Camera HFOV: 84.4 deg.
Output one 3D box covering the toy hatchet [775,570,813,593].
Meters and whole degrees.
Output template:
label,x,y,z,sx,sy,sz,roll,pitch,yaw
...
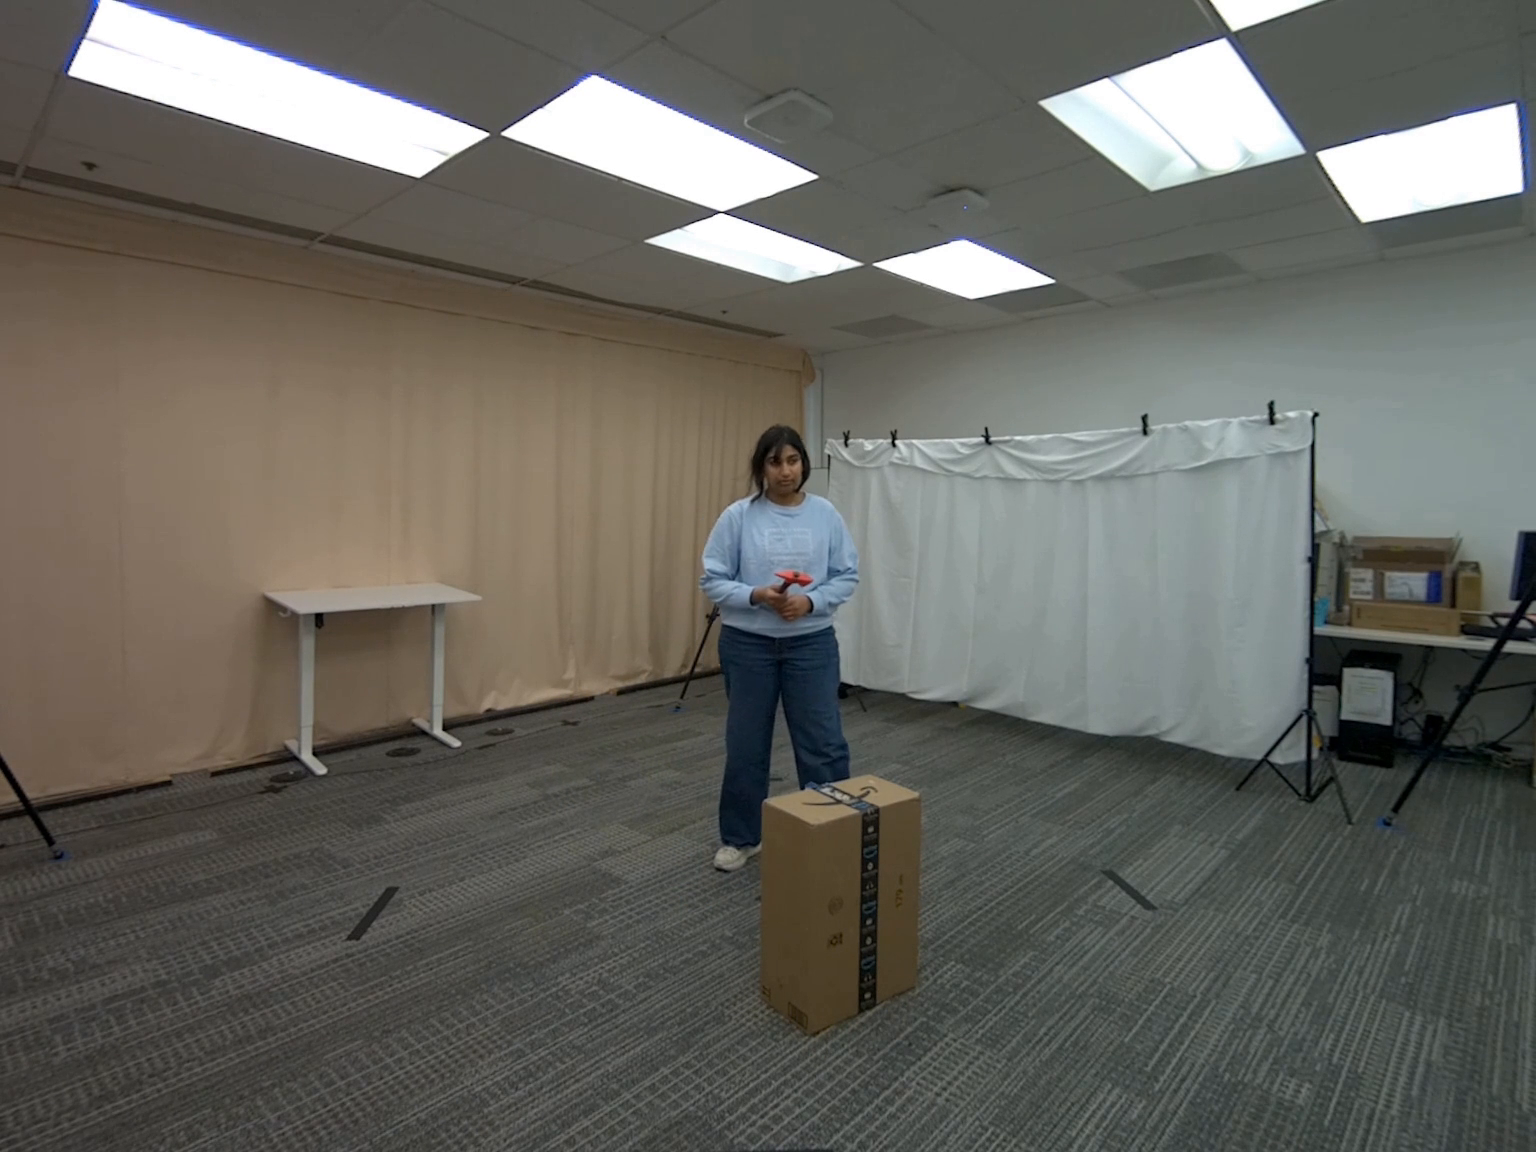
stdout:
label,x,y,z,sx,sy,sz,roll,pitch,yaw
toy hatchet,0.090,0.042,2.873,0.132,0.030,0.265,3,-21,5
